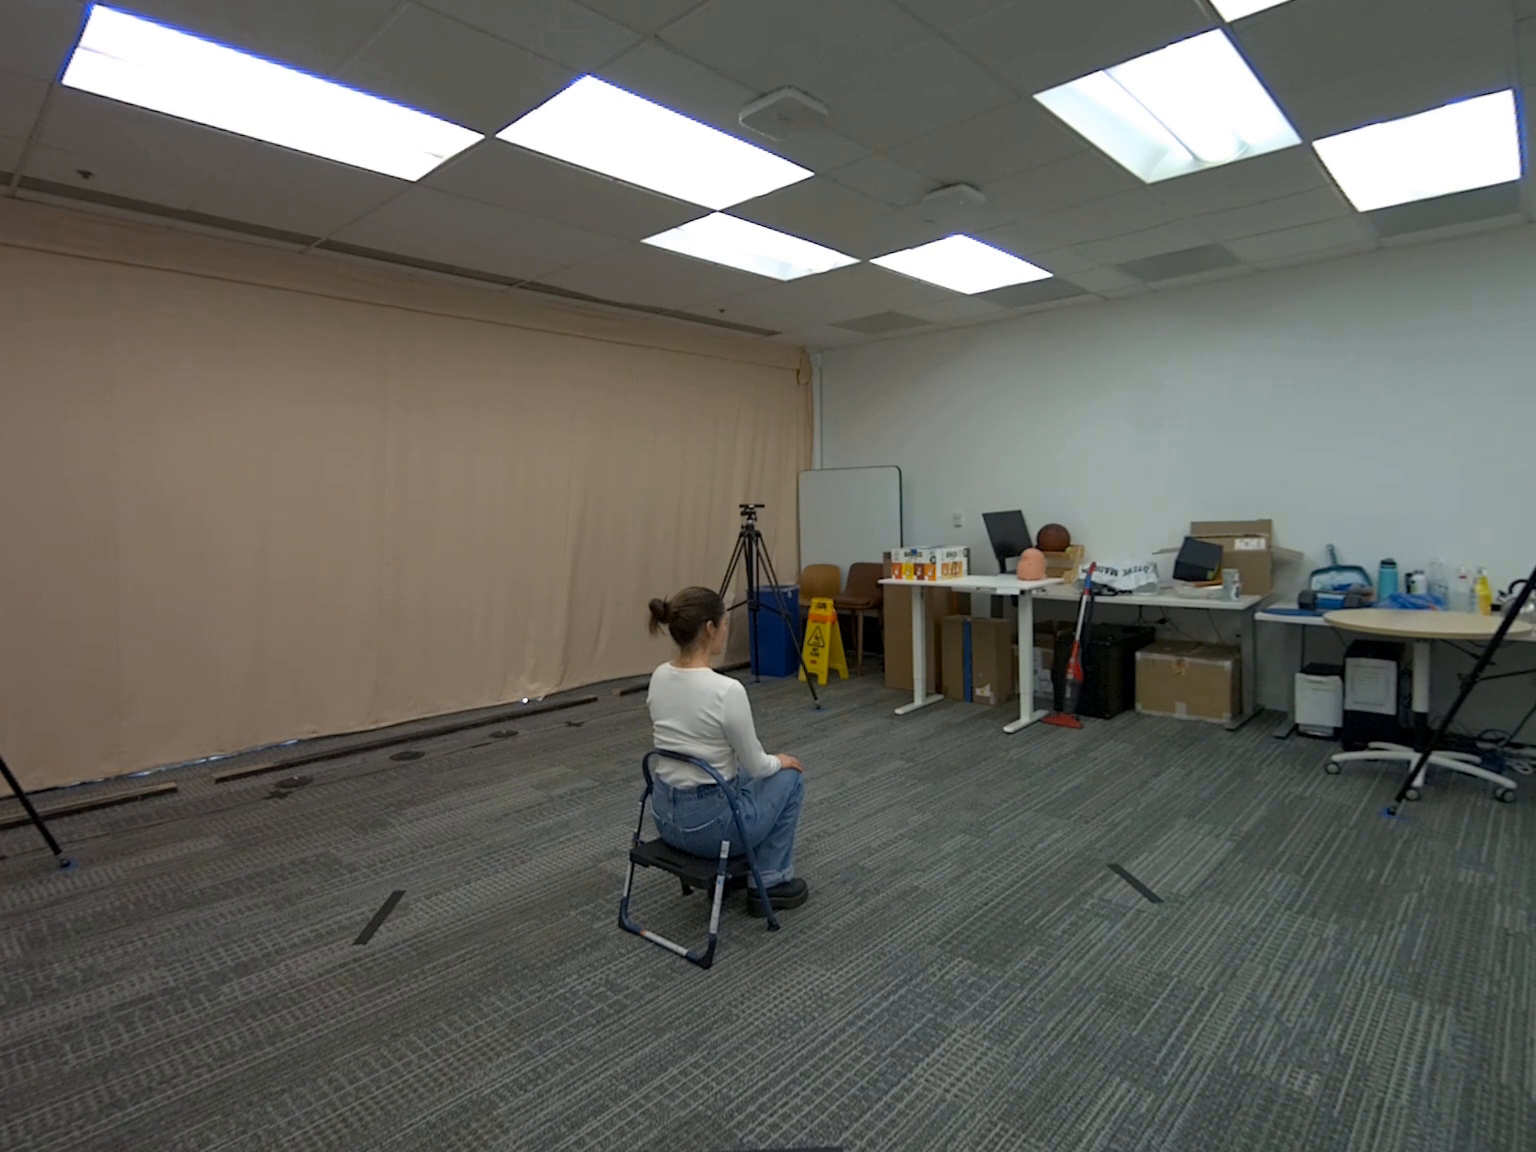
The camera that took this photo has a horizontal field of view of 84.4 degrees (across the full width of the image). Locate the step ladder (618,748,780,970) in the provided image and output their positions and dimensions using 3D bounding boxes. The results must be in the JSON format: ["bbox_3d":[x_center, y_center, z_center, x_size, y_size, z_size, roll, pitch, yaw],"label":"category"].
[{"bbox_3d":[-0.240,0.858,2.766,0.445,0.605,0.339,1,4,40],"label":"step ladder"}]
